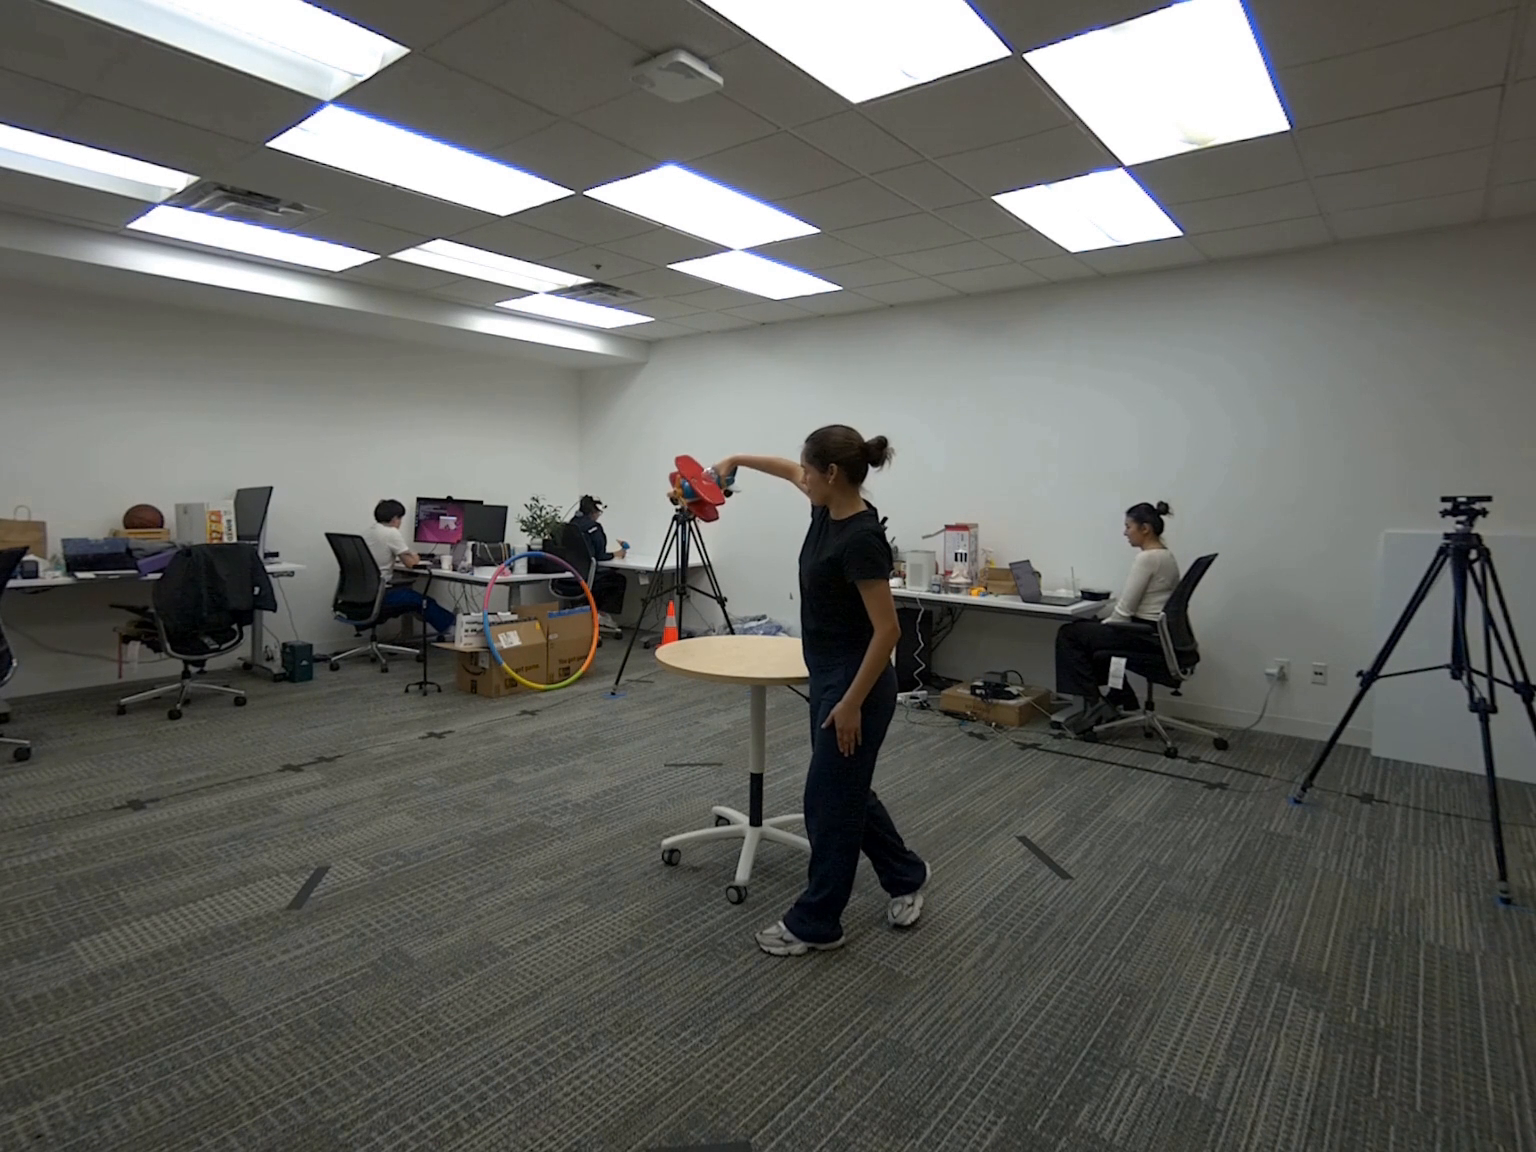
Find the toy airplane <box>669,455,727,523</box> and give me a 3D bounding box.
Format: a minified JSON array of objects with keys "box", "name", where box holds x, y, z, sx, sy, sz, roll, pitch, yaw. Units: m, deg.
[{"box":[-0.218,-0.321,3.009,0.256,0.260,0.153,26,-35,12],"name":"toy airplane"}]
